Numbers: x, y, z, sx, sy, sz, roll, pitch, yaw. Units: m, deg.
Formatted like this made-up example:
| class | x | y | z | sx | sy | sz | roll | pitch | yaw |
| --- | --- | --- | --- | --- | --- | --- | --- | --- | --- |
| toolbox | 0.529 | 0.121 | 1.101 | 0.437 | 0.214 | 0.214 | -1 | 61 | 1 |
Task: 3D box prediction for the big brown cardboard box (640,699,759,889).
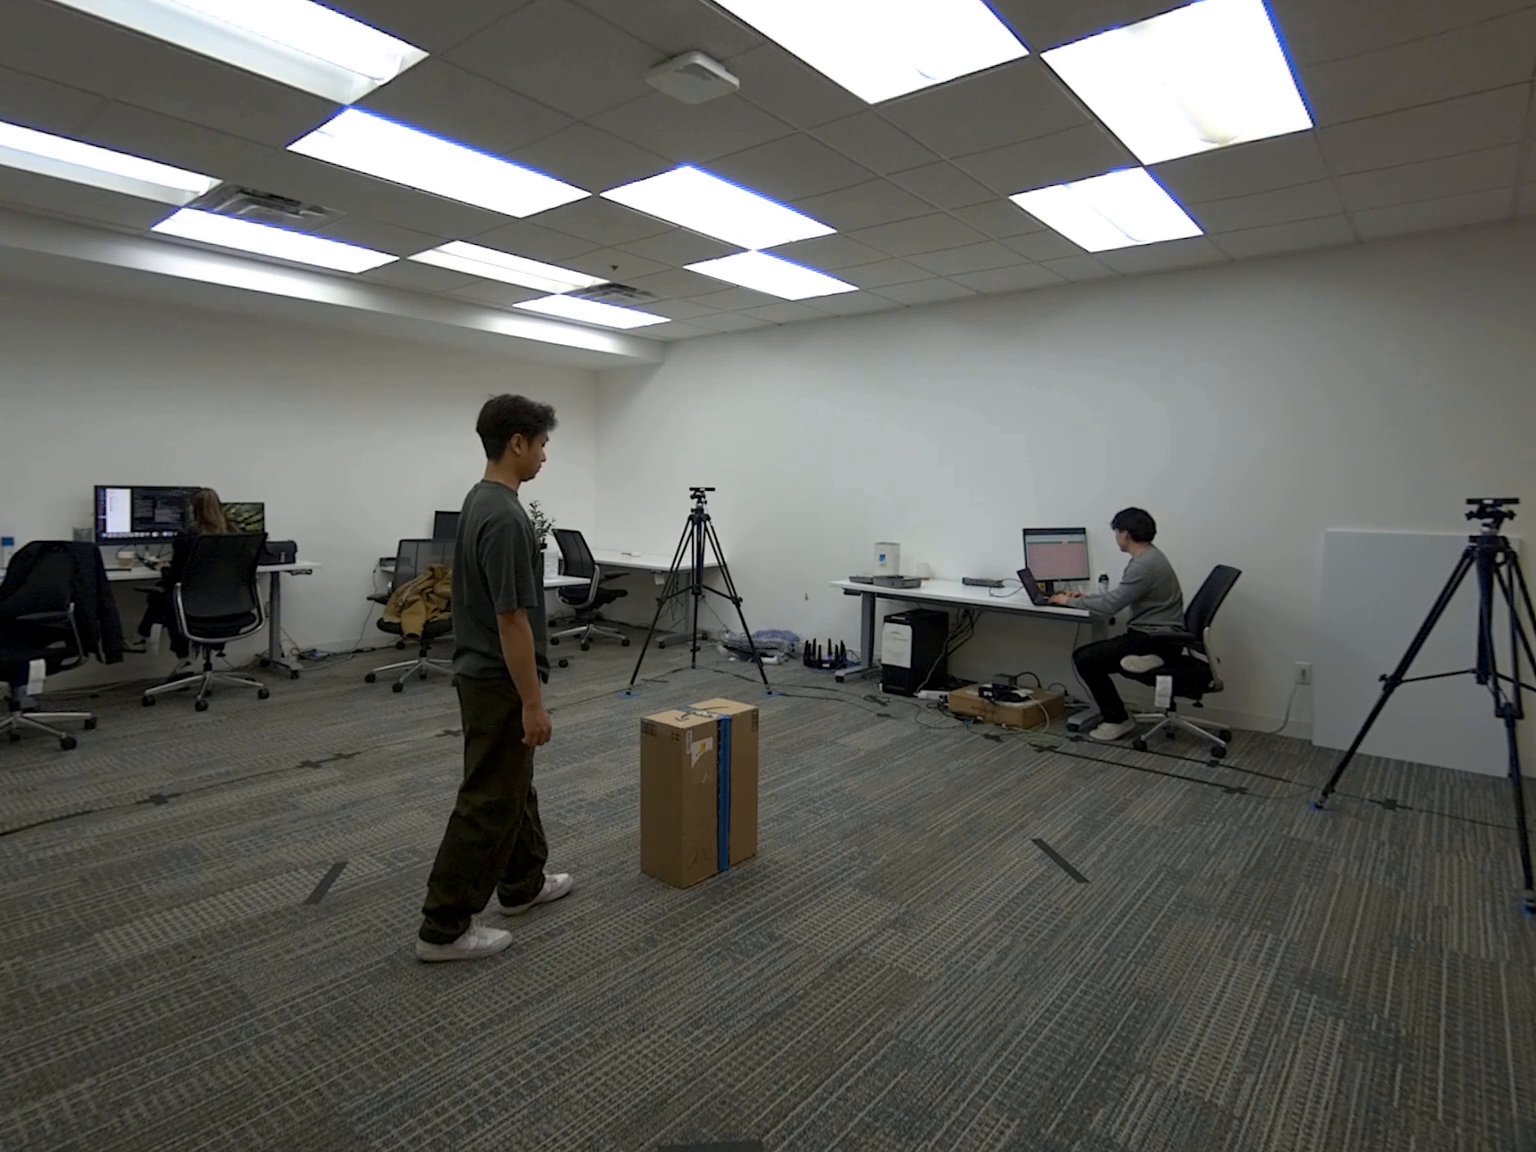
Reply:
| class | x | y | z | sx | sy | sz | roll | pitch | yaw |
| --- | --- | --- | --- | --- | --- | --- | --- | --- | --- |
| big brown cardboard box | -0.256 | 0.775 | 3.140 | 0.241 | 0.586 | 0.405 | 4 | 6 | 40 |
